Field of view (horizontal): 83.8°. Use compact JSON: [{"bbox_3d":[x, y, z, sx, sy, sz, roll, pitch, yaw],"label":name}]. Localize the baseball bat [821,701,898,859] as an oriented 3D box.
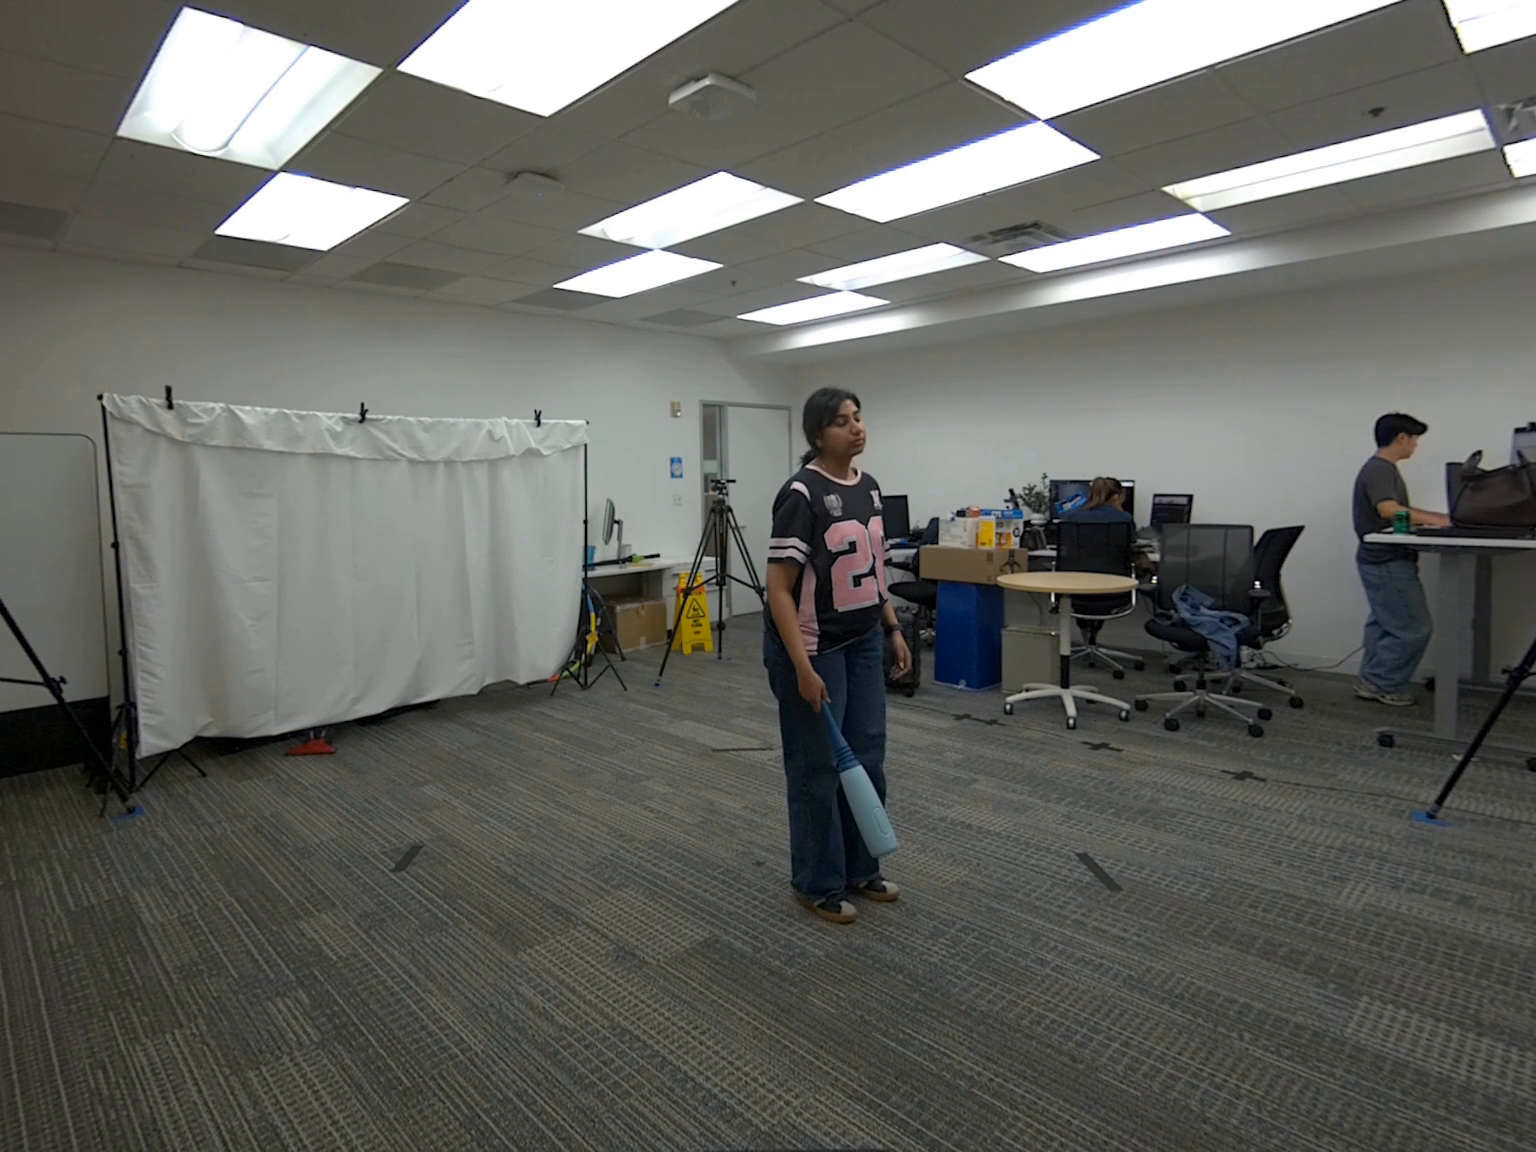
[{"bbox_3d":[0.244,0.562,2.514,0.088,0.556,0.087,-20,-21,-9],"label":"baseball bat"}]
